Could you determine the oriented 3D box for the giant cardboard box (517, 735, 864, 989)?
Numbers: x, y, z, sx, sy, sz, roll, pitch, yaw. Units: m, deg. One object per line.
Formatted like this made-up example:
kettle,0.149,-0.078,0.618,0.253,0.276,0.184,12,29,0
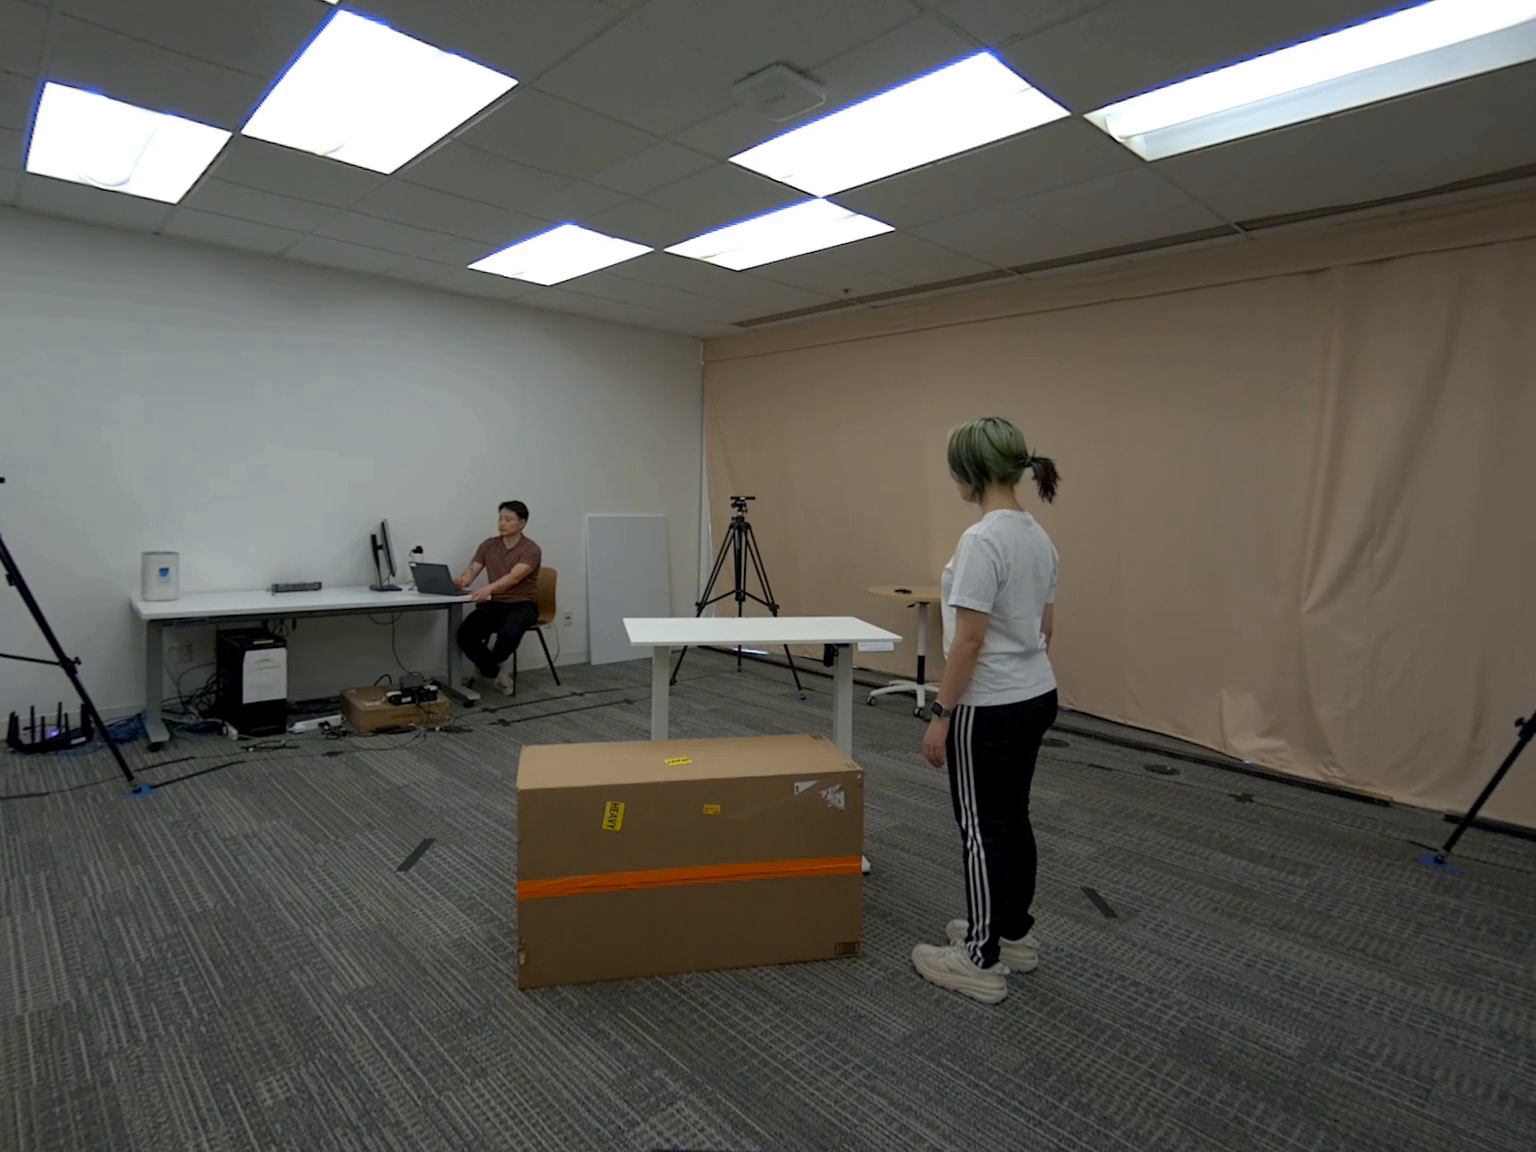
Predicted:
giant cardboard box,-0.265,0.854,2.649,1.017,0.582,0.452,0,4,-13
